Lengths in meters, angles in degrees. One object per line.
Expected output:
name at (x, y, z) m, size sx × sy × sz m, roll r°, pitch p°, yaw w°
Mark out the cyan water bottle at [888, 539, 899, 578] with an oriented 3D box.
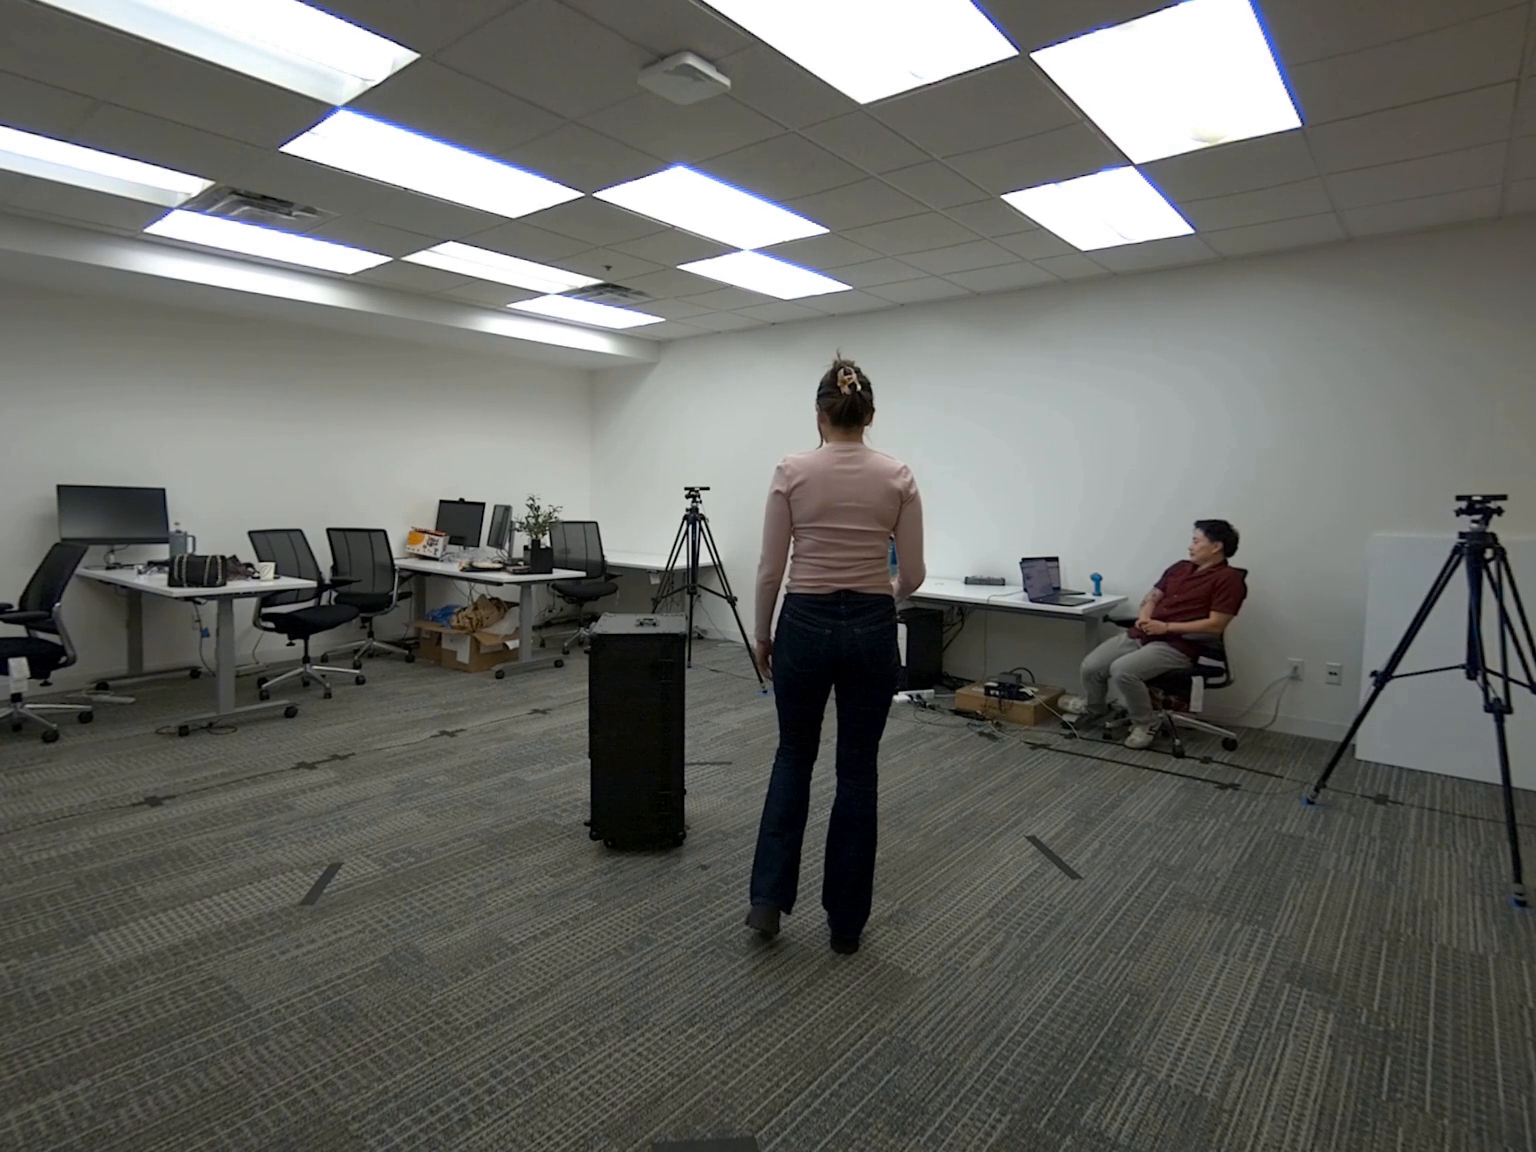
cyan water bottle at (0.401, -0.015, 2.897) m, size 0.092 × 0.282 × 0.093 m, roll 4°, pitch 6°, yaw -2°
